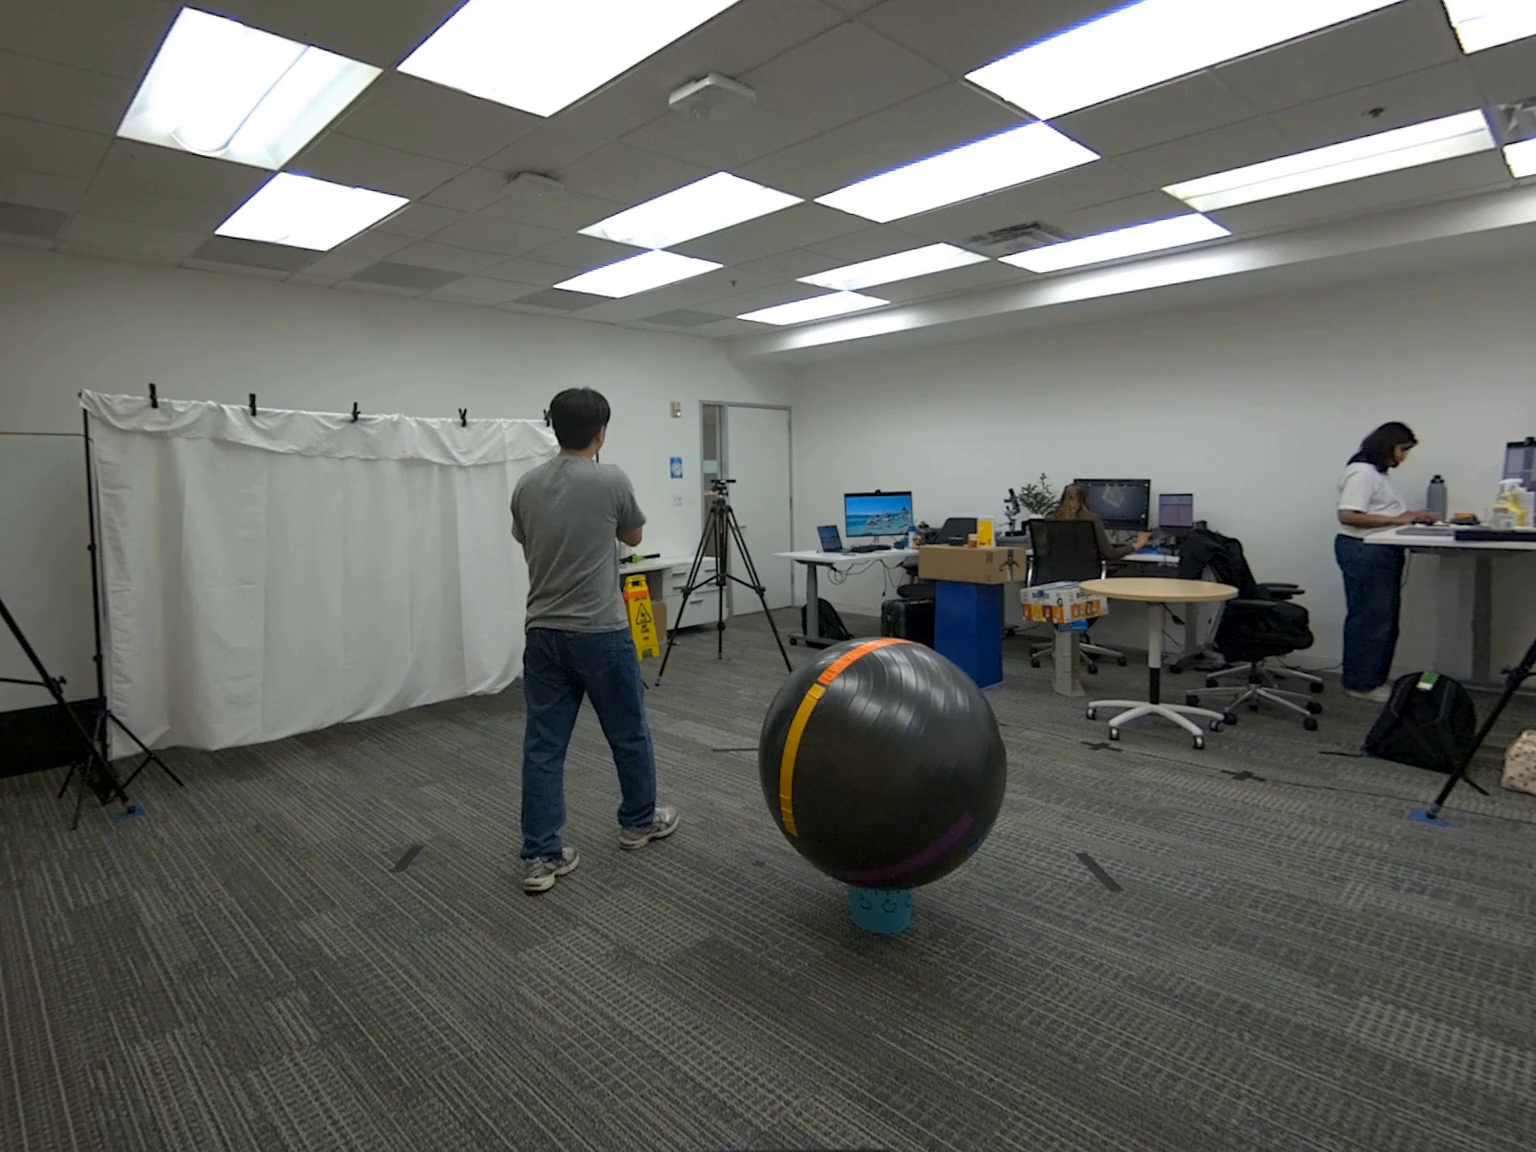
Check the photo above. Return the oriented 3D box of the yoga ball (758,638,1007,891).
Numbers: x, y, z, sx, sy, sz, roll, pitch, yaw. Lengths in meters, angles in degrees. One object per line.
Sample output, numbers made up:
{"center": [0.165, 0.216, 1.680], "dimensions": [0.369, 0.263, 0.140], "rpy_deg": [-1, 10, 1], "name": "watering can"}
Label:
{"center": [0.358, 0.579, 2.661], "dimensions": [0.757, 0.755, 0.762], "rpy_deg": [-1, 5, -2], "name": "yoga ball"}
